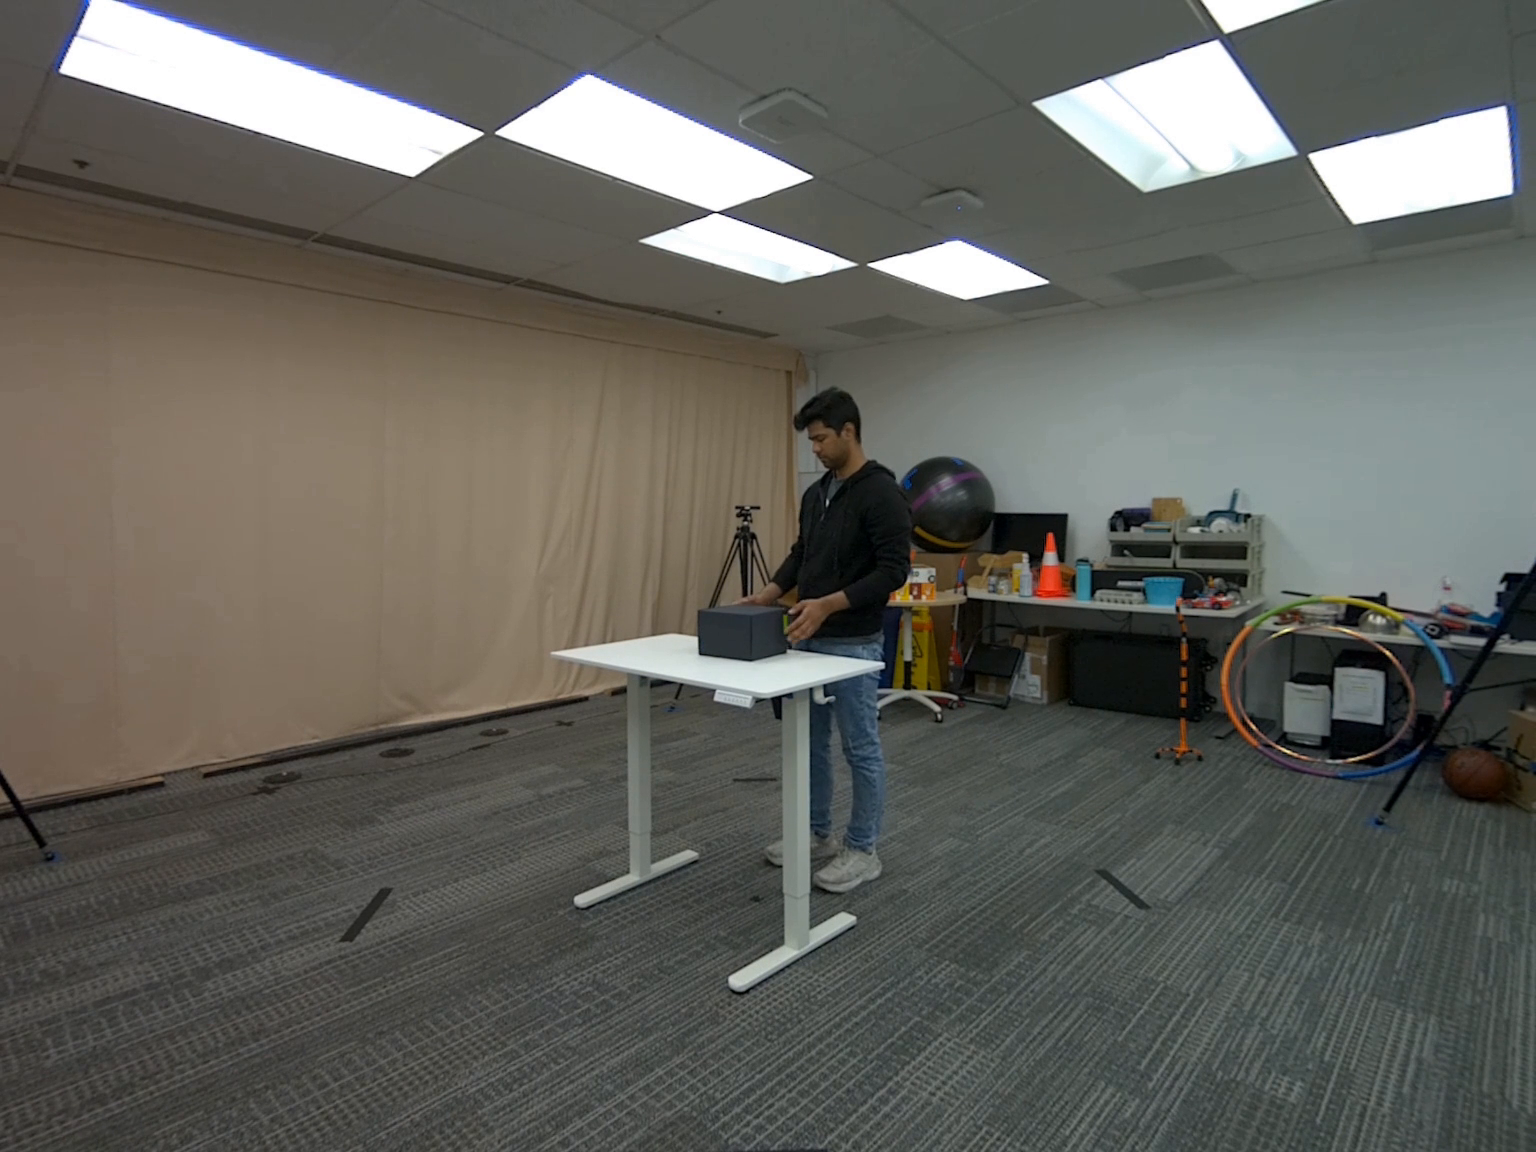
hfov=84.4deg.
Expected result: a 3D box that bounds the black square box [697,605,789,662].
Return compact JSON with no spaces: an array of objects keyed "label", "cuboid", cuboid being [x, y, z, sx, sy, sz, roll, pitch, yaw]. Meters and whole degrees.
[{"label":"black square box","cuboid":[-0.088,0.192,2.891,0.235,0.155,0.211,2,5,36]}]
